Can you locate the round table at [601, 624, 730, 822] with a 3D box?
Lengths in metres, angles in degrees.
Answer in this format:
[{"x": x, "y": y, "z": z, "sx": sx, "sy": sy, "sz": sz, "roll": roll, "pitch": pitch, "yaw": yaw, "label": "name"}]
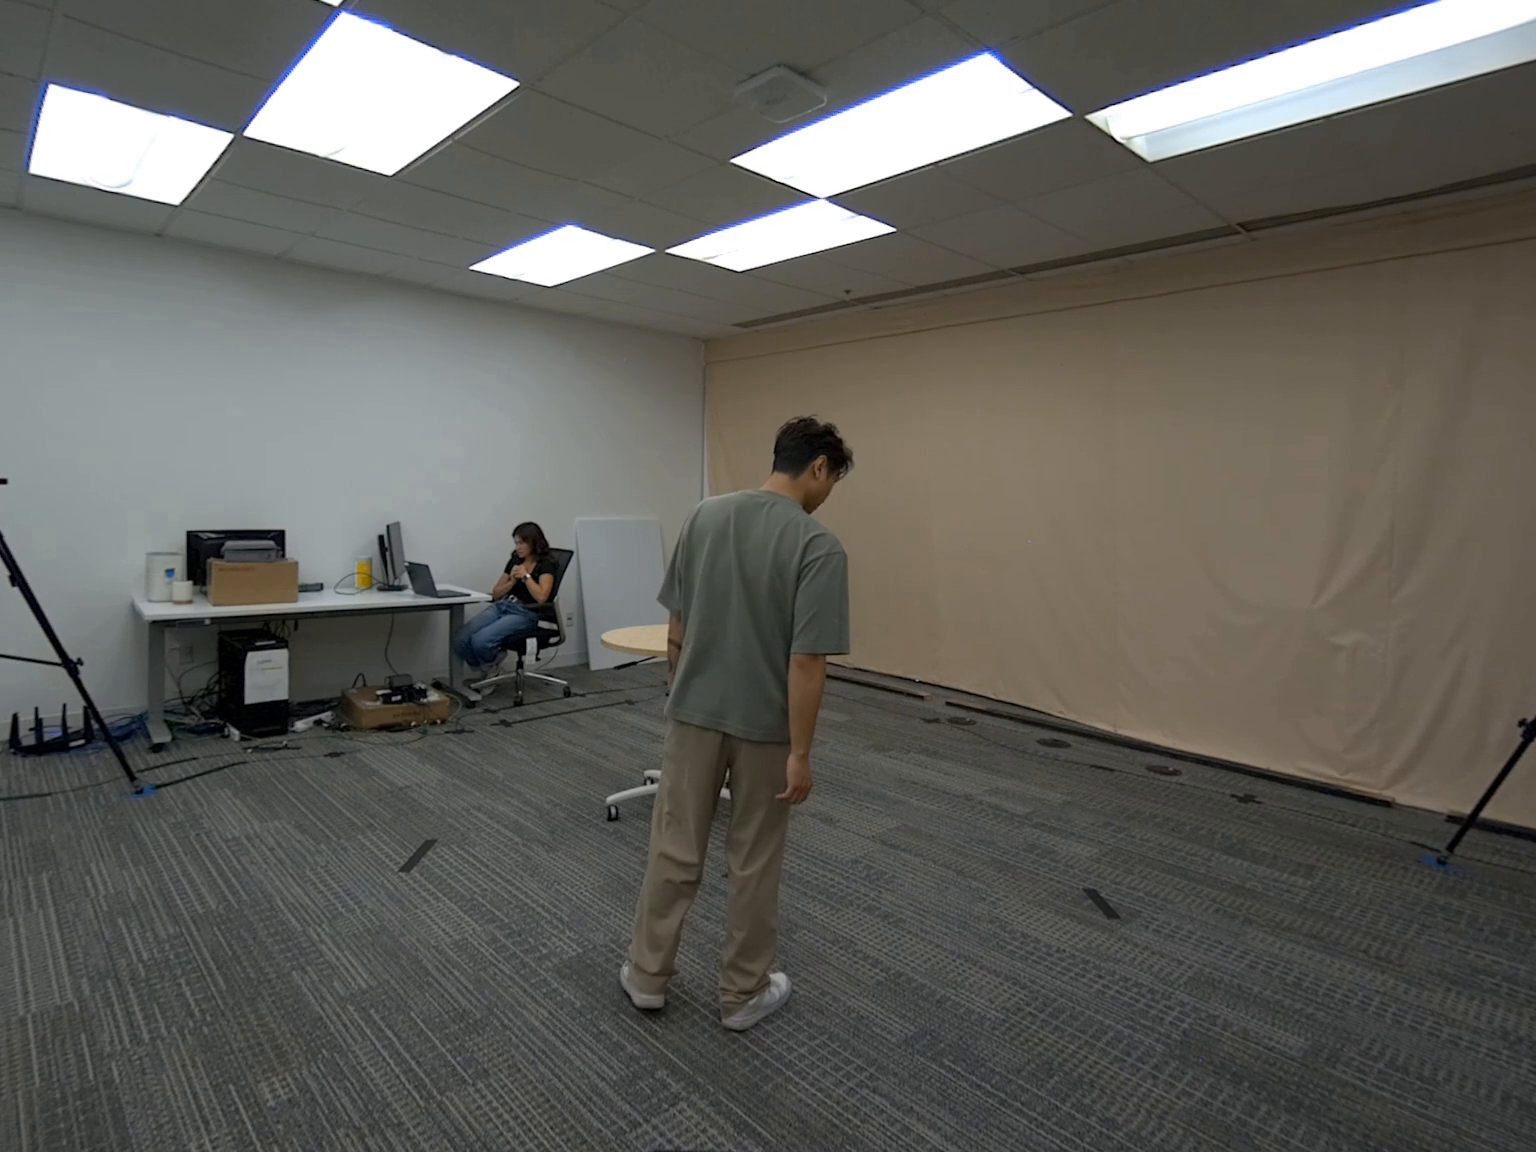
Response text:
[{"x": -0.352, "y": 0.659, "z": 3.727, "sx": 0.784, "sy": 0.784, "sz": 0.788, "roll": 1, "pitch": 4, "yaw": -1, "label": "round table"}]
